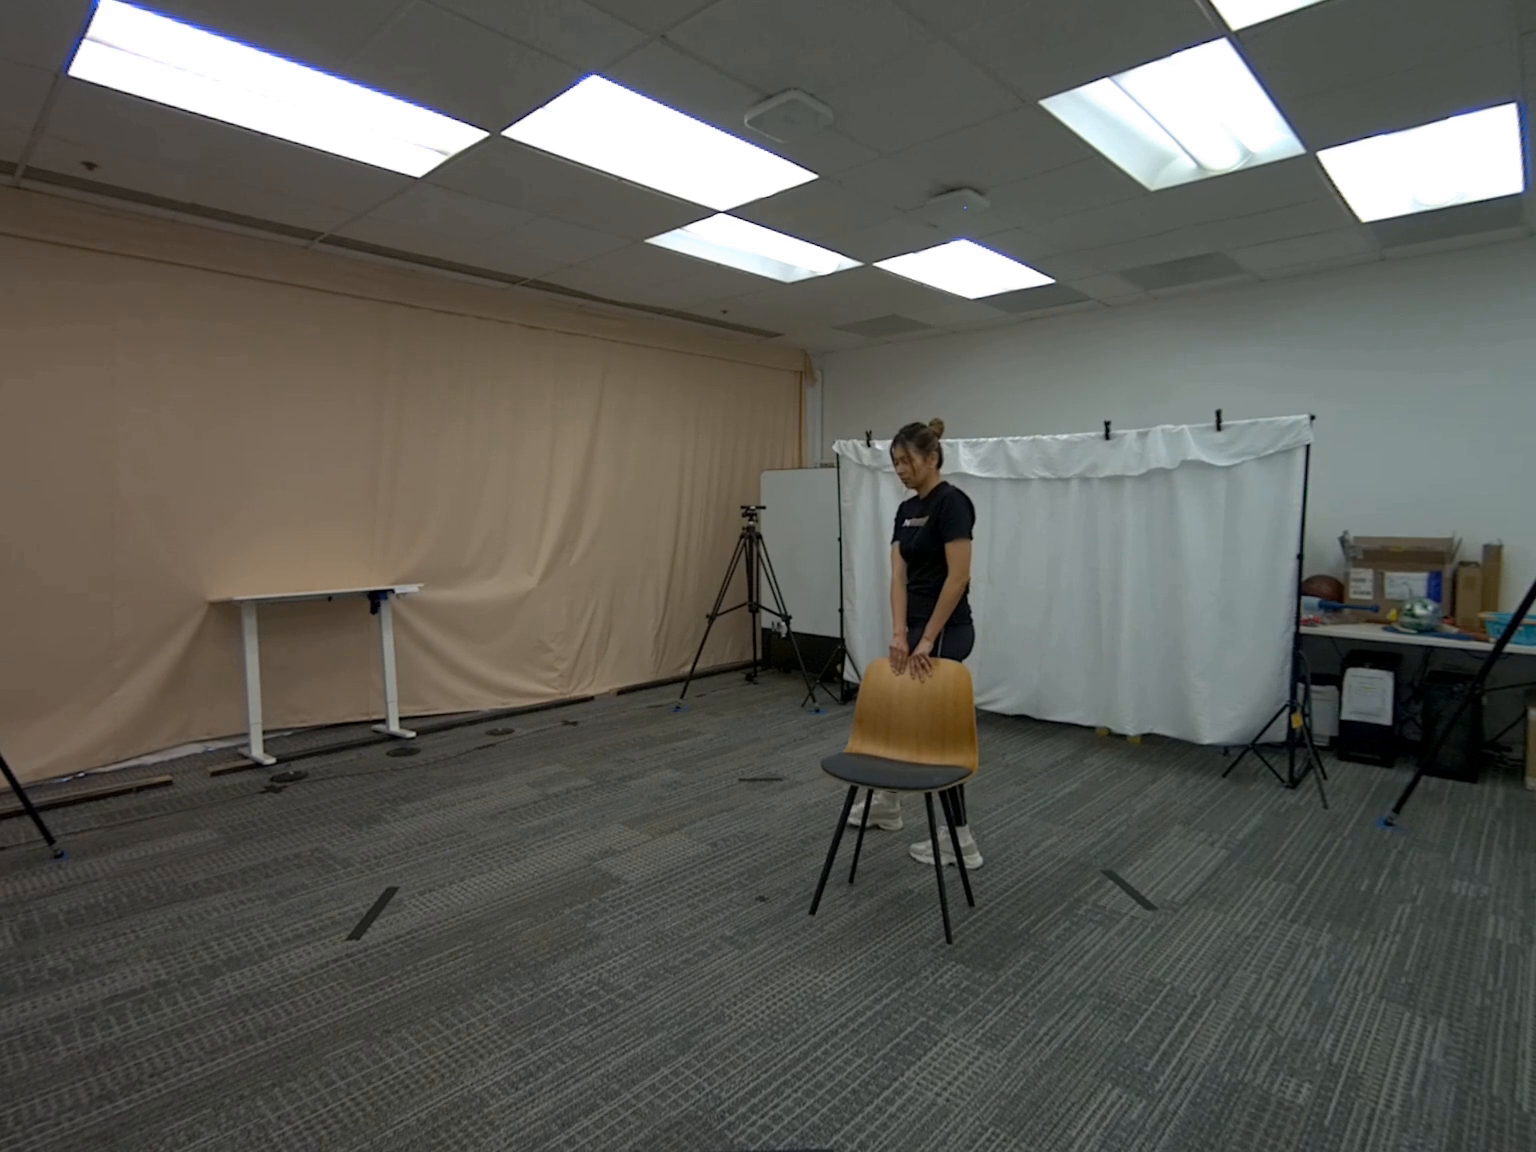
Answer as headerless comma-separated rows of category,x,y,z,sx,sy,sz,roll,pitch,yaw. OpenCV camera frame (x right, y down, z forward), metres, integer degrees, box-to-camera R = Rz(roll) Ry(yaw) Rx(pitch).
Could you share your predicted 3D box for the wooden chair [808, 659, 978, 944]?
wooden chair,0.451,0.693,2.842,0.490,0.881,0.508,1,-10,24
